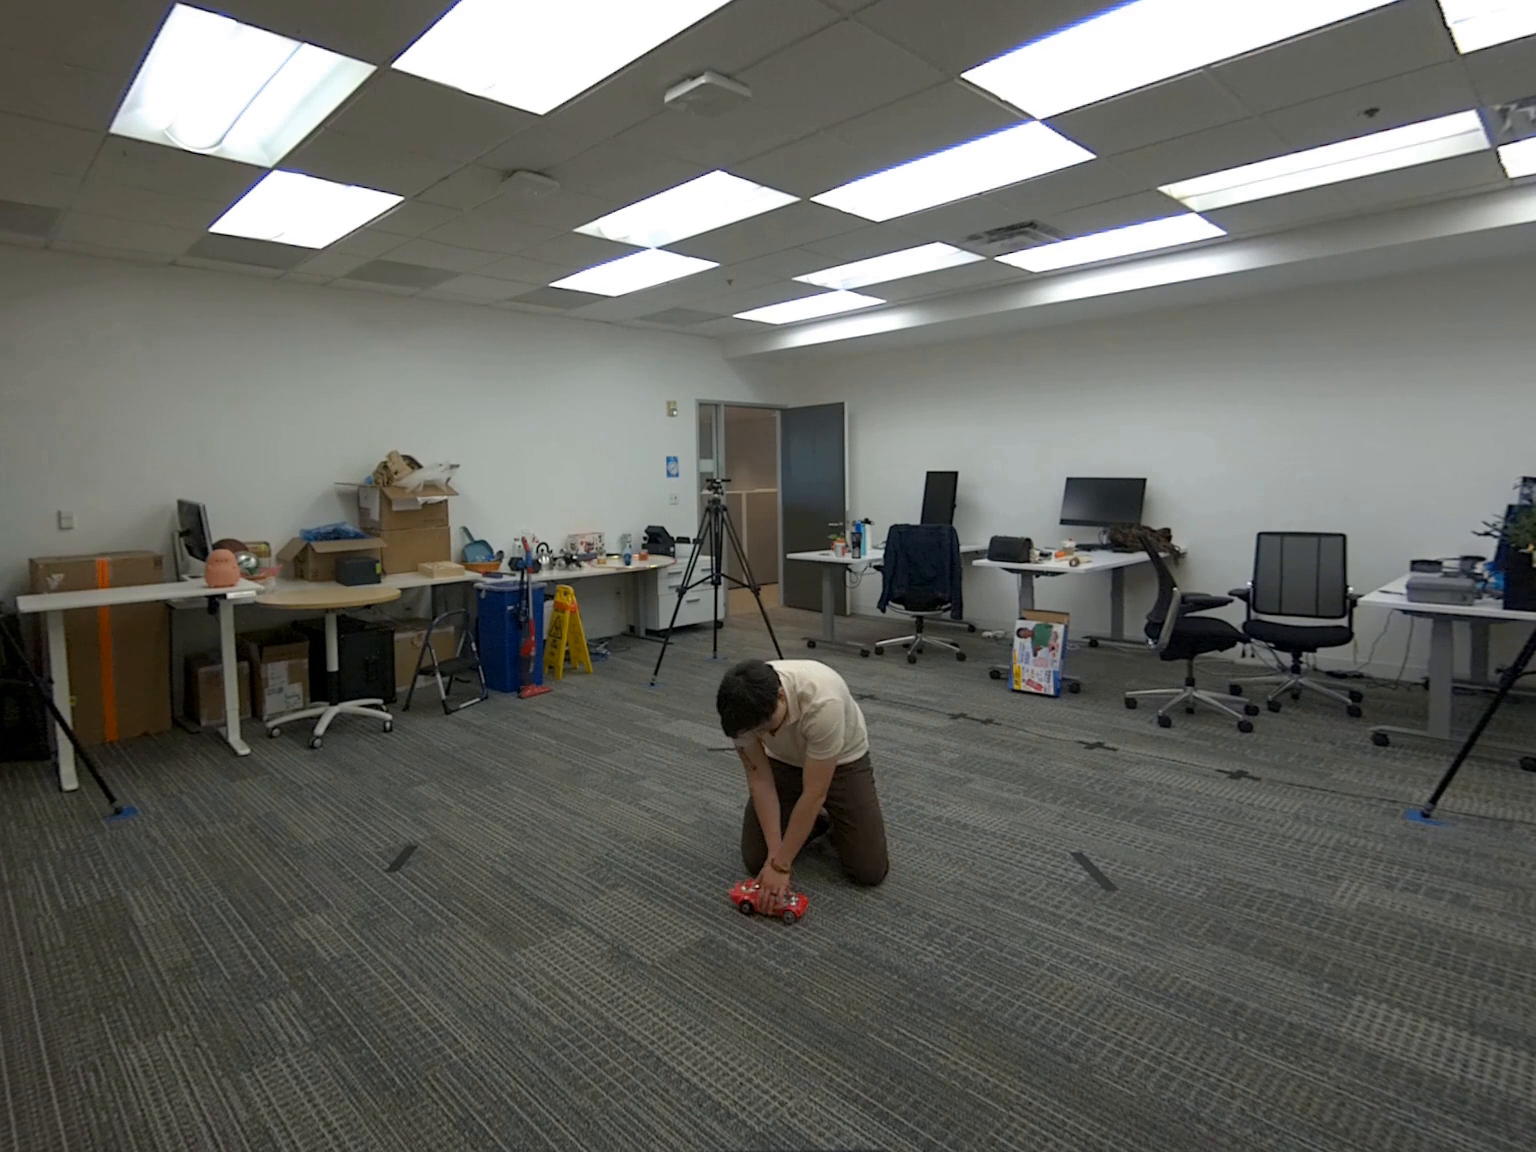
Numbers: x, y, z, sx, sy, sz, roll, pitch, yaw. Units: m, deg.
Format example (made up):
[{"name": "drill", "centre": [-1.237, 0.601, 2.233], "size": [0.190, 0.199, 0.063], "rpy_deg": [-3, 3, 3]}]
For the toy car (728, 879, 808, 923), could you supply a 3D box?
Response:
[{"name": "toy car", "centre": [-0.002, 1.055, 2.767], "size": [0.260, 0.082, 0.128], "rpy_deg": [10, 10, 20]}]
